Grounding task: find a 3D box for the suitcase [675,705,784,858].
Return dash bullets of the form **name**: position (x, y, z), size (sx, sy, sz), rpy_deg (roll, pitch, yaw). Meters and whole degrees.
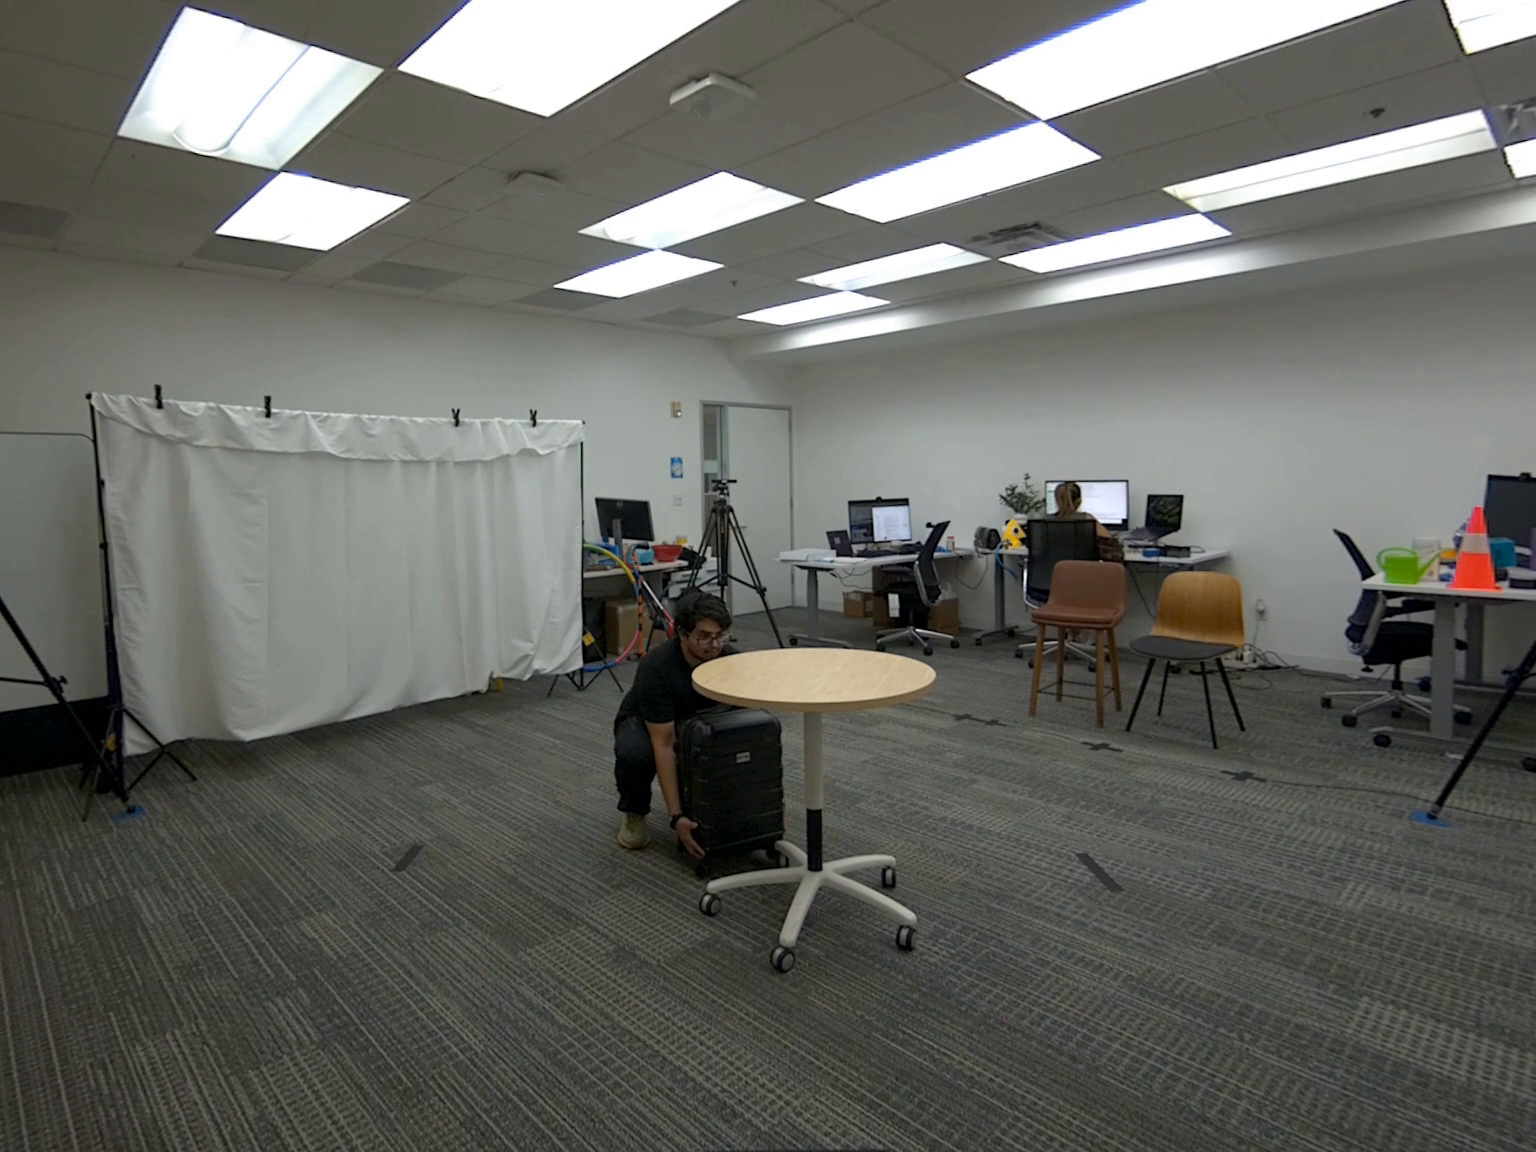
- **suitcase**: position (-0.142, 0.761, 3.133), size (0.367, 0.547, 0.255), rpy_deg (-3, 5, -26)
